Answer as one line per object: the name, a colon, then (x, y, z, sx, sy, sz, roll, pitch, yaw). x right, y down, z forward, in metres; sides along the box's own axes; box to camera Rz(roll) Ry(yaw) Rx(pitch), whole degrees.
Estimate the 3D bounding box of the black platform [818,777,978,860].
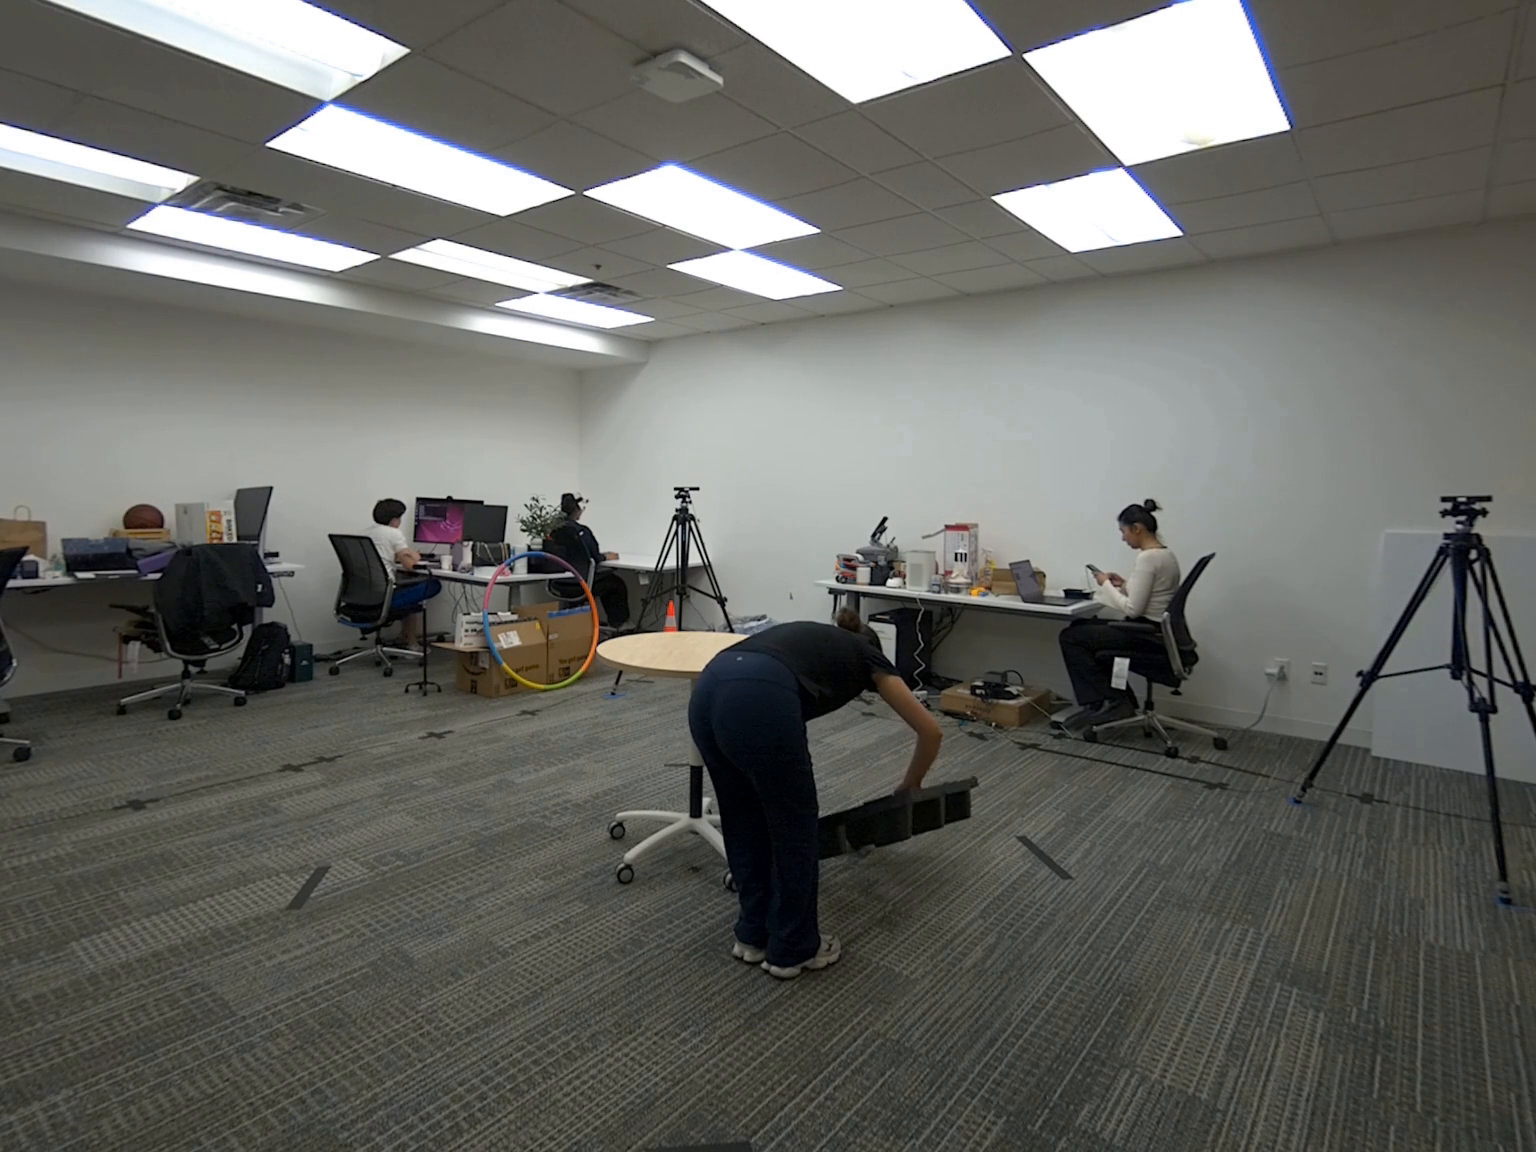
black platform: (0.379, 0.859, 2.954, 0.612, 0.147, 0.777, -25, -20, 25)
